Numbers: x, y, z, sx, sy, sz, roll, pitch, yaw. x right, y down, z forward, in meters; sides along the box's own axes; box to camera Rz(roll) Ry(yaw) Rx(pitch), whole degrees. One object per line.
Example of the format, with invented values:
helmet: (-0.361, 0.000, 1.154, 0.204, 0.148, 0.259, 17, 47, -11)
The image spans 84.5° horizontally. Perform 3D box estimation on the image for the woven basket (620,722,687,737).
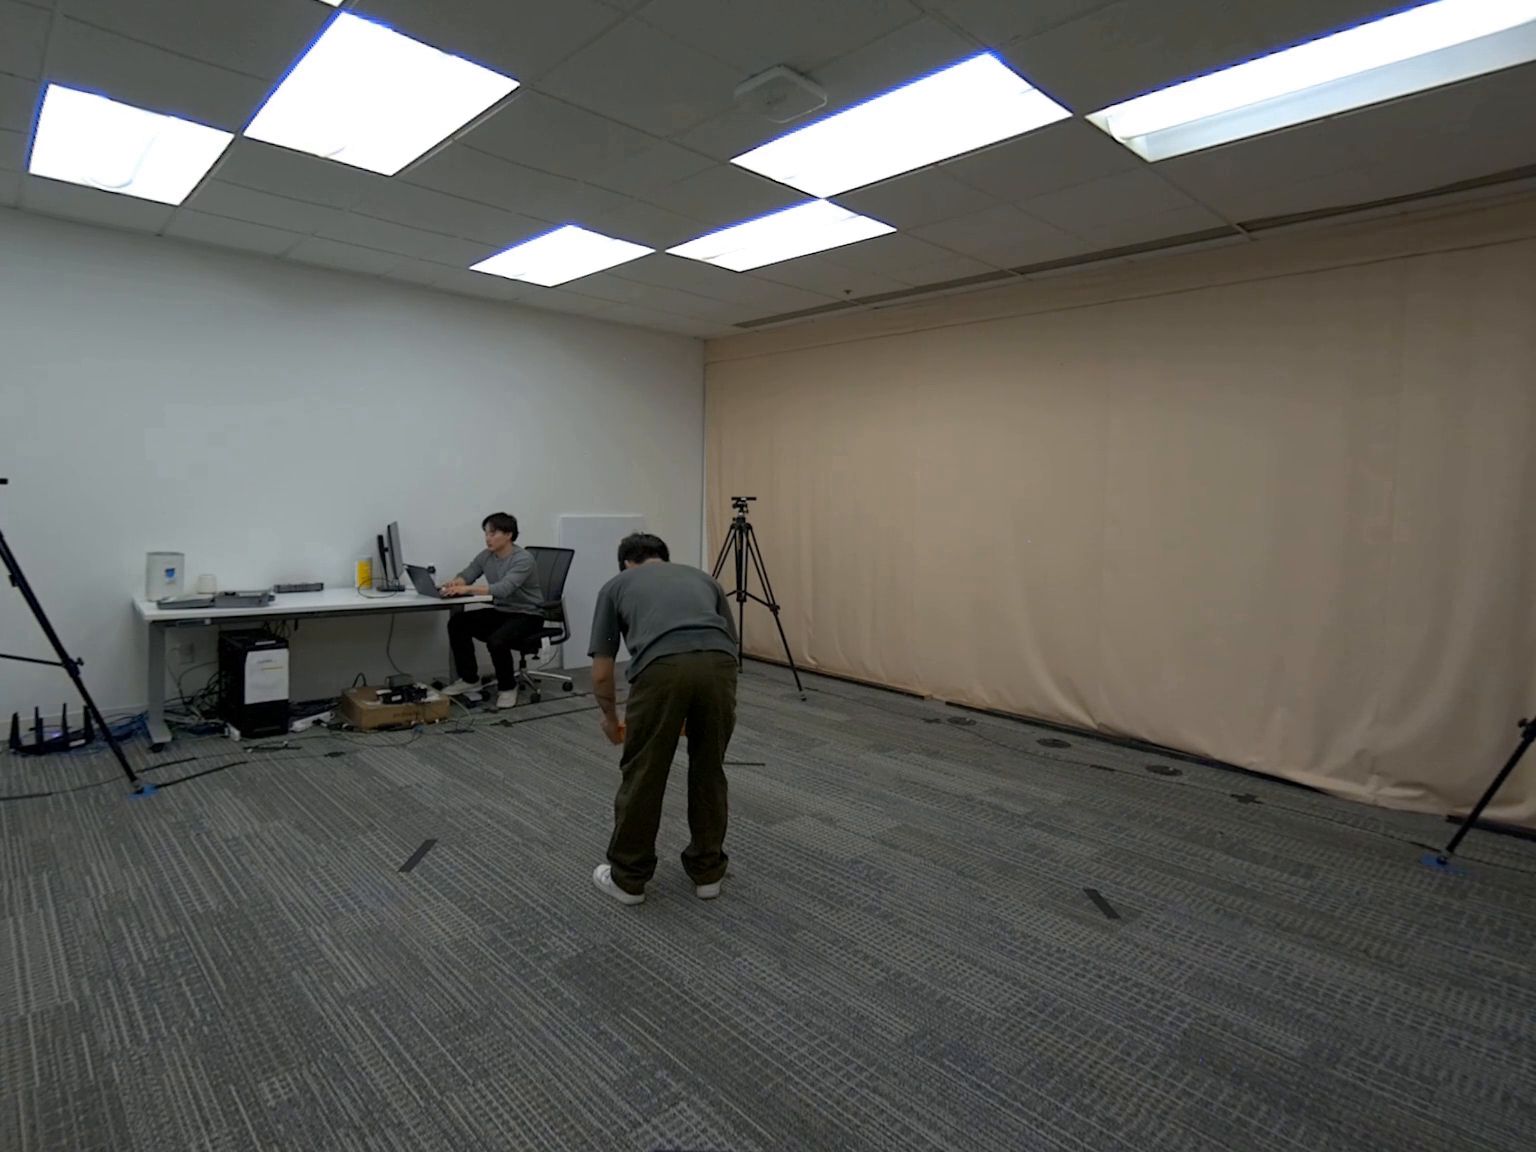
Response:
woven basket: (-0.484, 0.608, 3.319, 0.344, 0.074, 0.256, -1, -4, -26)
